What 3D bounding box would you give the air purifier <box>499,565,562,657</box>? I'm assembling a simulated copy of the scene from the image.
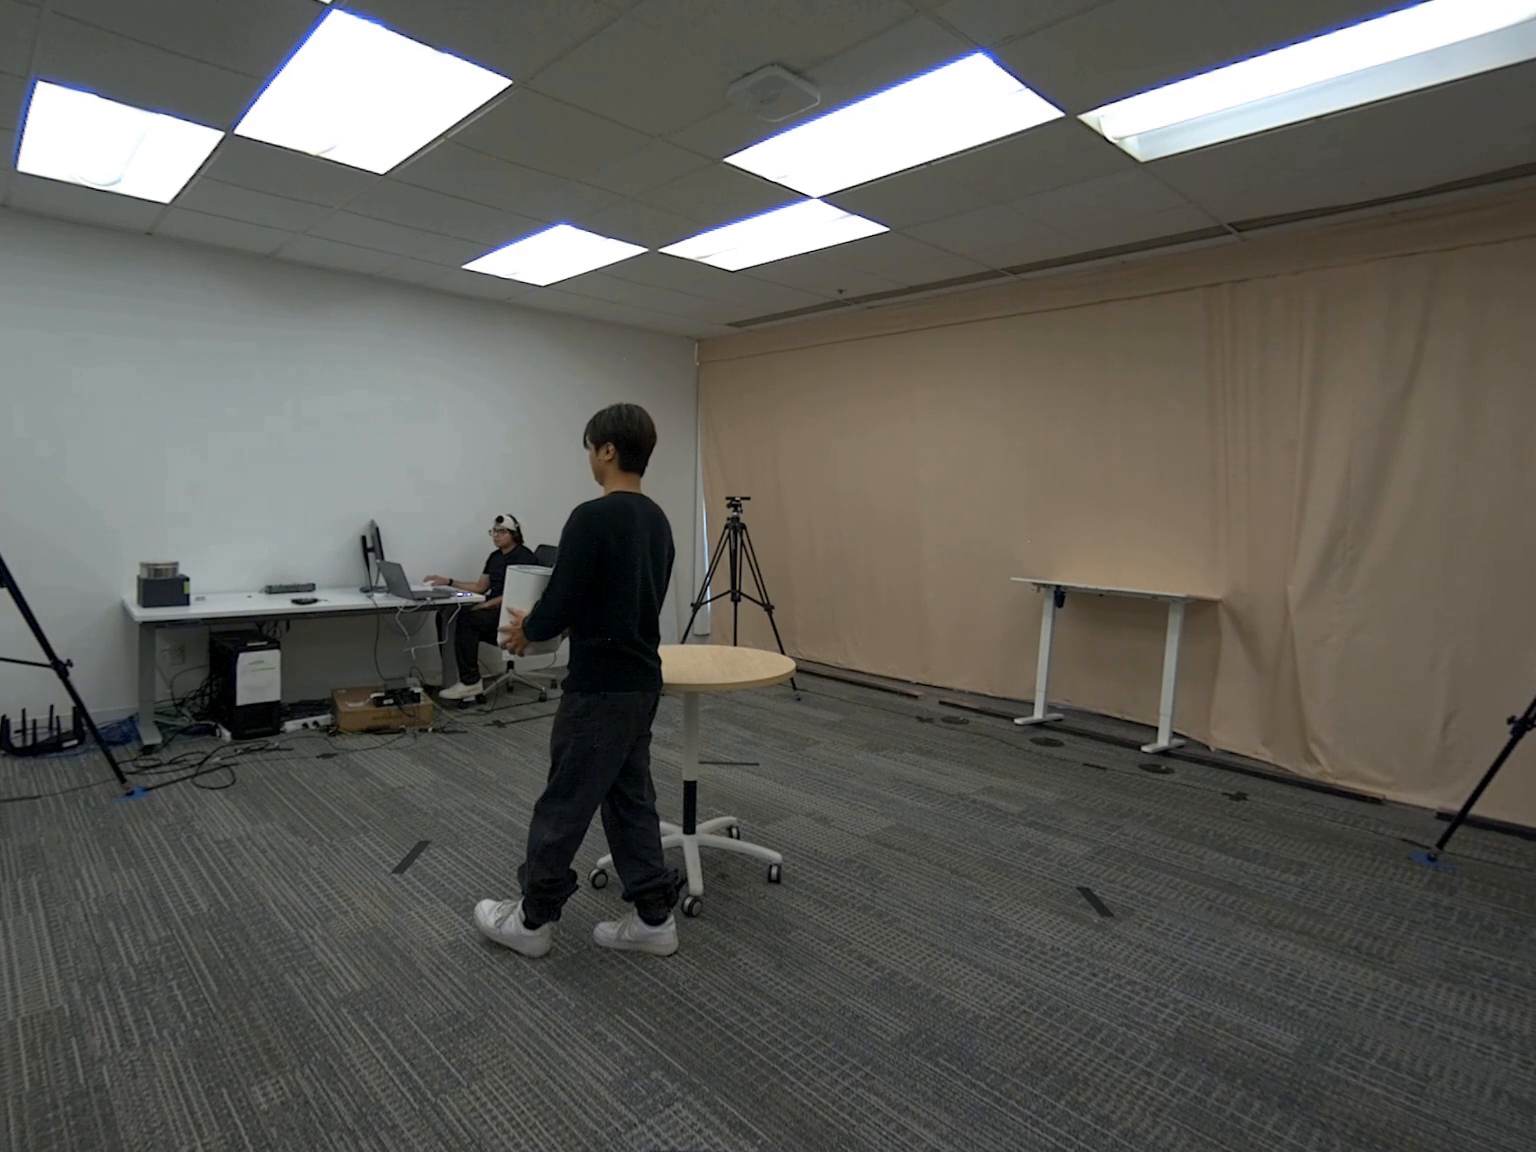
[{"bbox_3d":[-0.759,0.110,2.712,0.175,0.265,0.168,10,4,26],"label":"air purifier"}]
